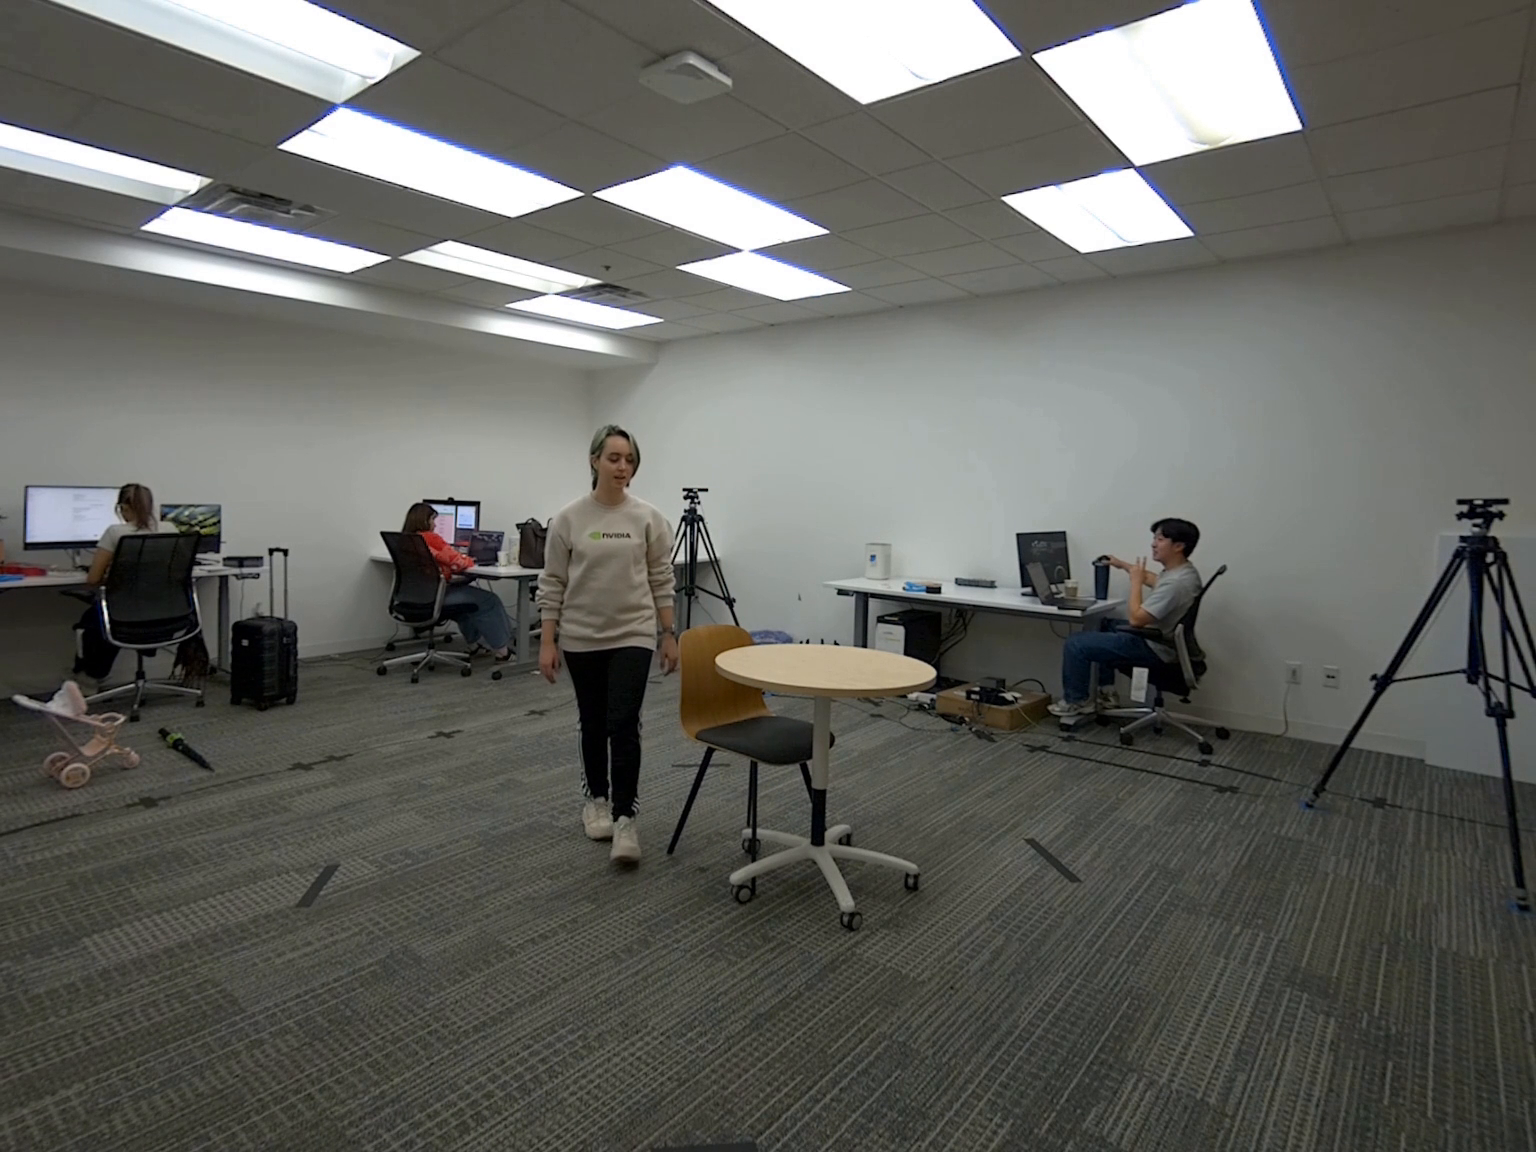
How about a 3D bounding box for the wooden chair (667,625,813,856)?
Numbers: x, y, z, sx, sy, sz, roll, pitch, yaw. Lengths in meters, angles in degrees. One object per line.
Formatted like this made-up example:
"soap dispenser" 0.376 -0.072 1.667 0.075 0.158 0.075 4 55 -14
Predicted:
"wooden chair" -0.059 0.637 3.190 0.539 0.878 0.463 -1 0 45
